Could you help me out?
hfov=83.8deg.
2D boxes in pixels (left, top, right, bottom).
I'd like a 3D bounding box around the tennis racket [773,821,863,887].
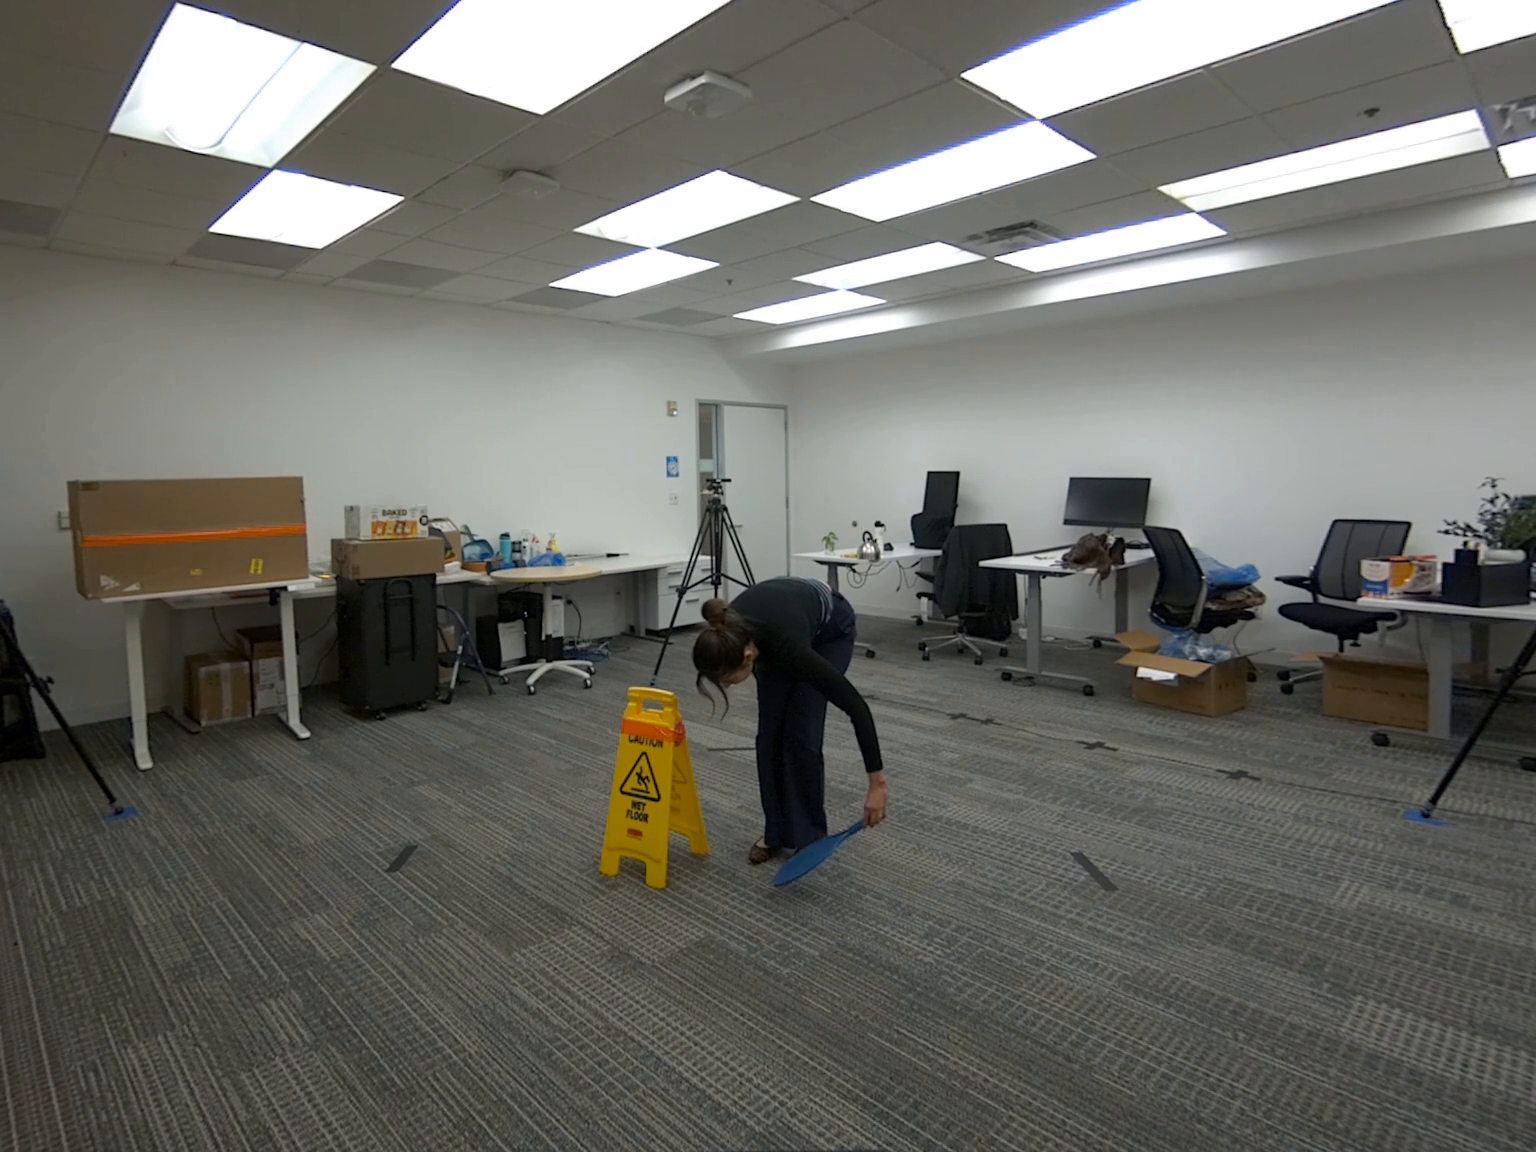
[{"bbox_3d":[0.180,0.919,2.861,0.433,0.032,0.213,-36,-1,2],"label":"tennis racket"}]
